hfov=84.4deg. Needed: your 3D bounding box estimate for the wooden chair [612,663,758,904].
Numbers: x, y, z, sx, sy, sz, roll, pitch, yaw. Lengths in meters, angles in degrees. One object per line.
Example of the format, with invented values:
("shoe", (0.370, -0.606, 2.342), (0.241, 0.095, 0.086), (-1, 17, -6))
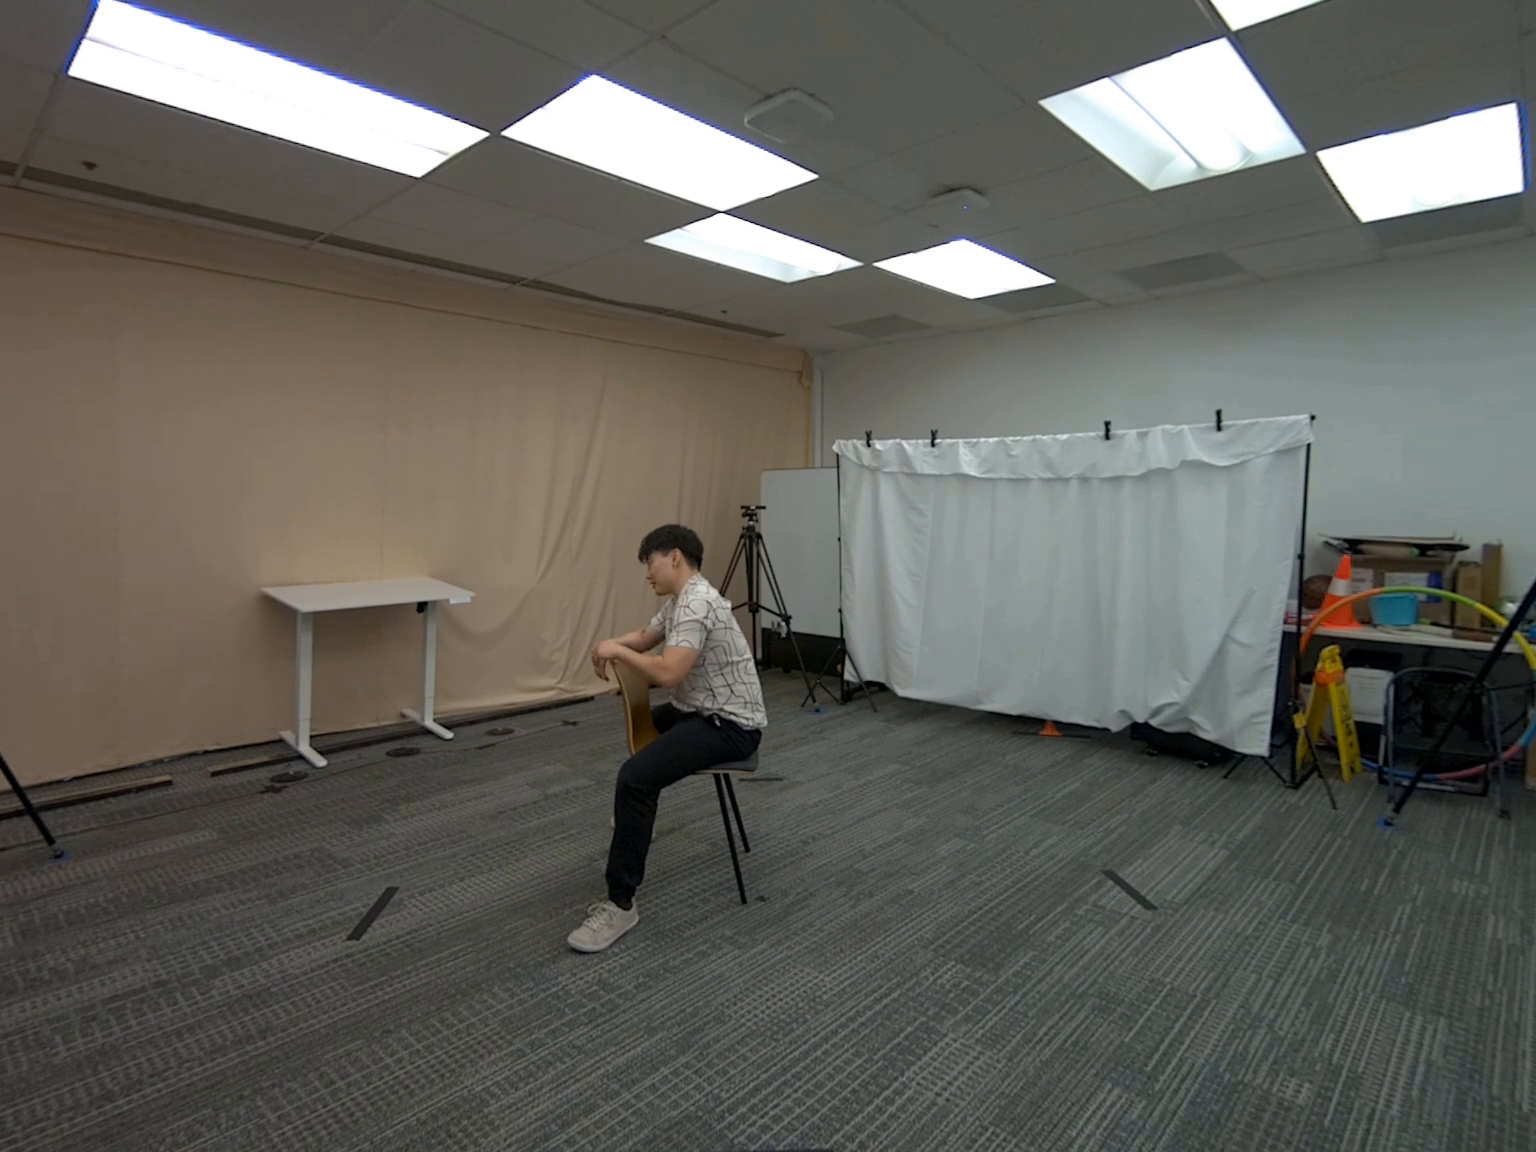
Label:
("wooden chair", (-0.293, 0.714, 3.150), (0.525, 0.875, 0.477), (-5, 3, 3))
